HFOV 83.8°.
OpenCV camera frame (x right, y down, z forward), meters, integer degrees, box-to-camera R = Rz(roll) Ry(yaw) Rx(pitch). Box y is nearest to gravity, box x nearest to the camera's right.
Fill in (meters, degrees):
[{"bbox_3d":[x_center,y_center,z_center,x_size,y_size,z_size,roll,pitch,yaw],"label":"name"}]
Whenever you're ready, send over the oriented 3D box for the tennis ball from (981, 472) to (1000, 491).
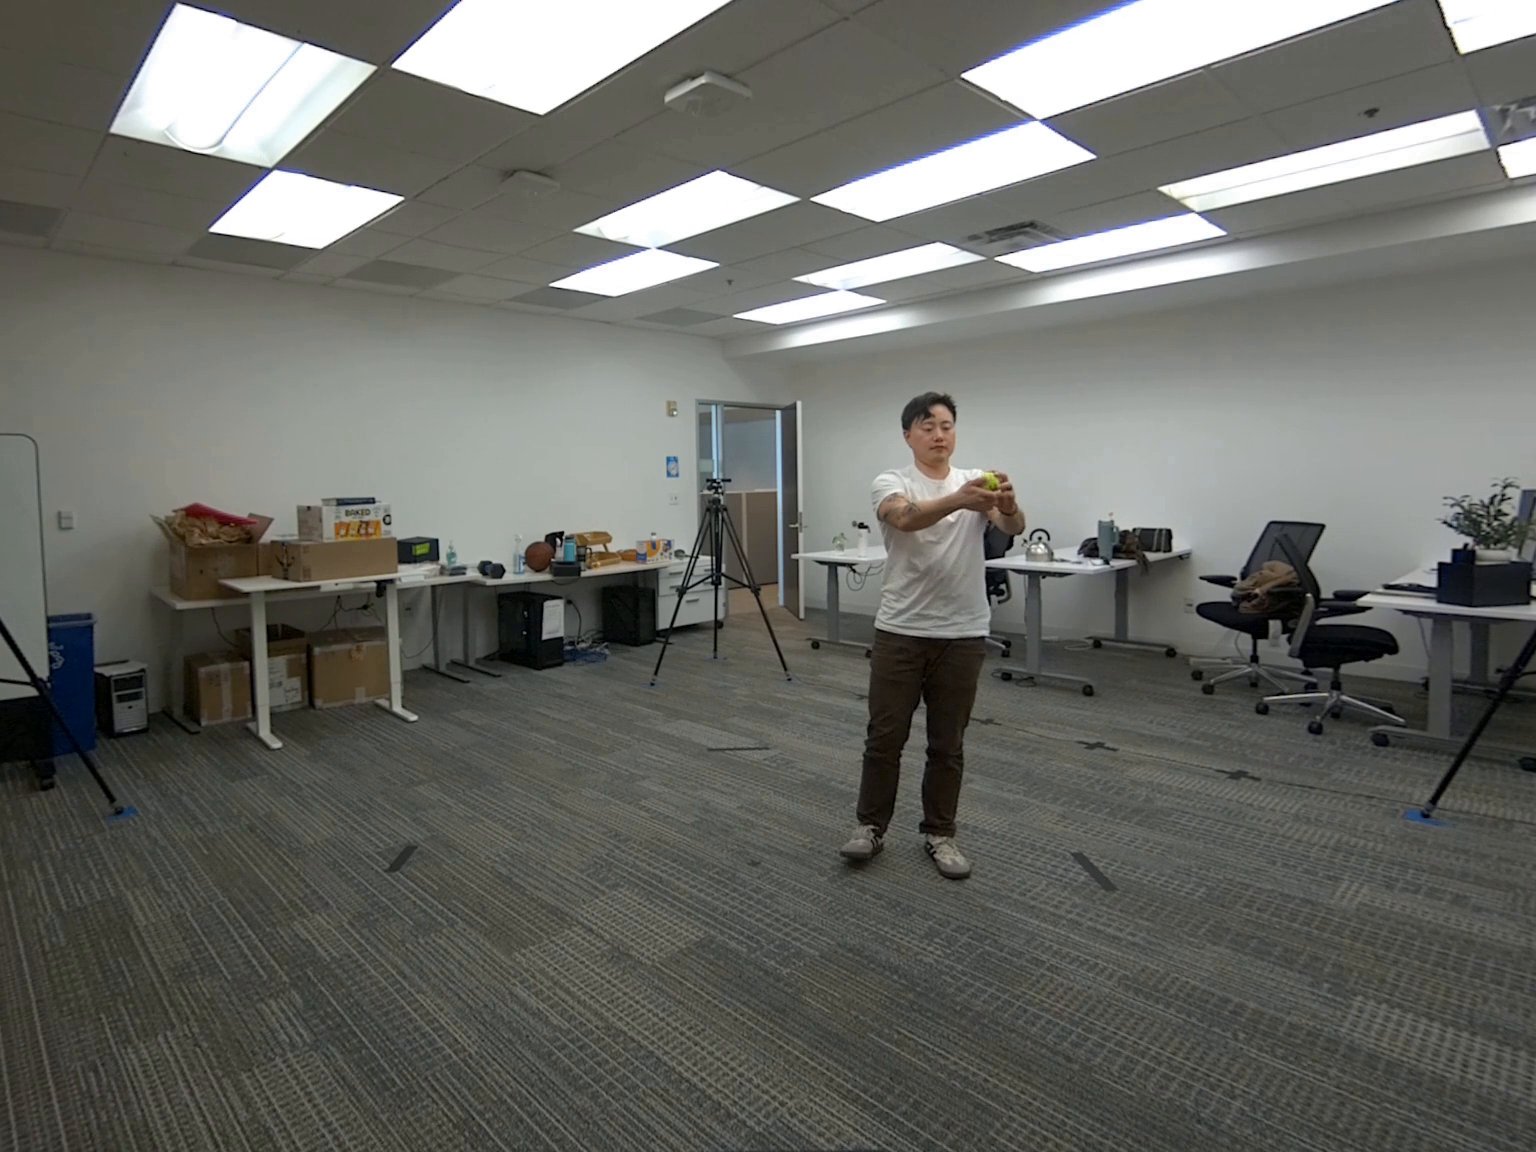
[{"bbox_3d":[0.701,-0.293,2.563,0.066,0.066,0.067,-1,5,-2],"label":"tennis ball"}]
